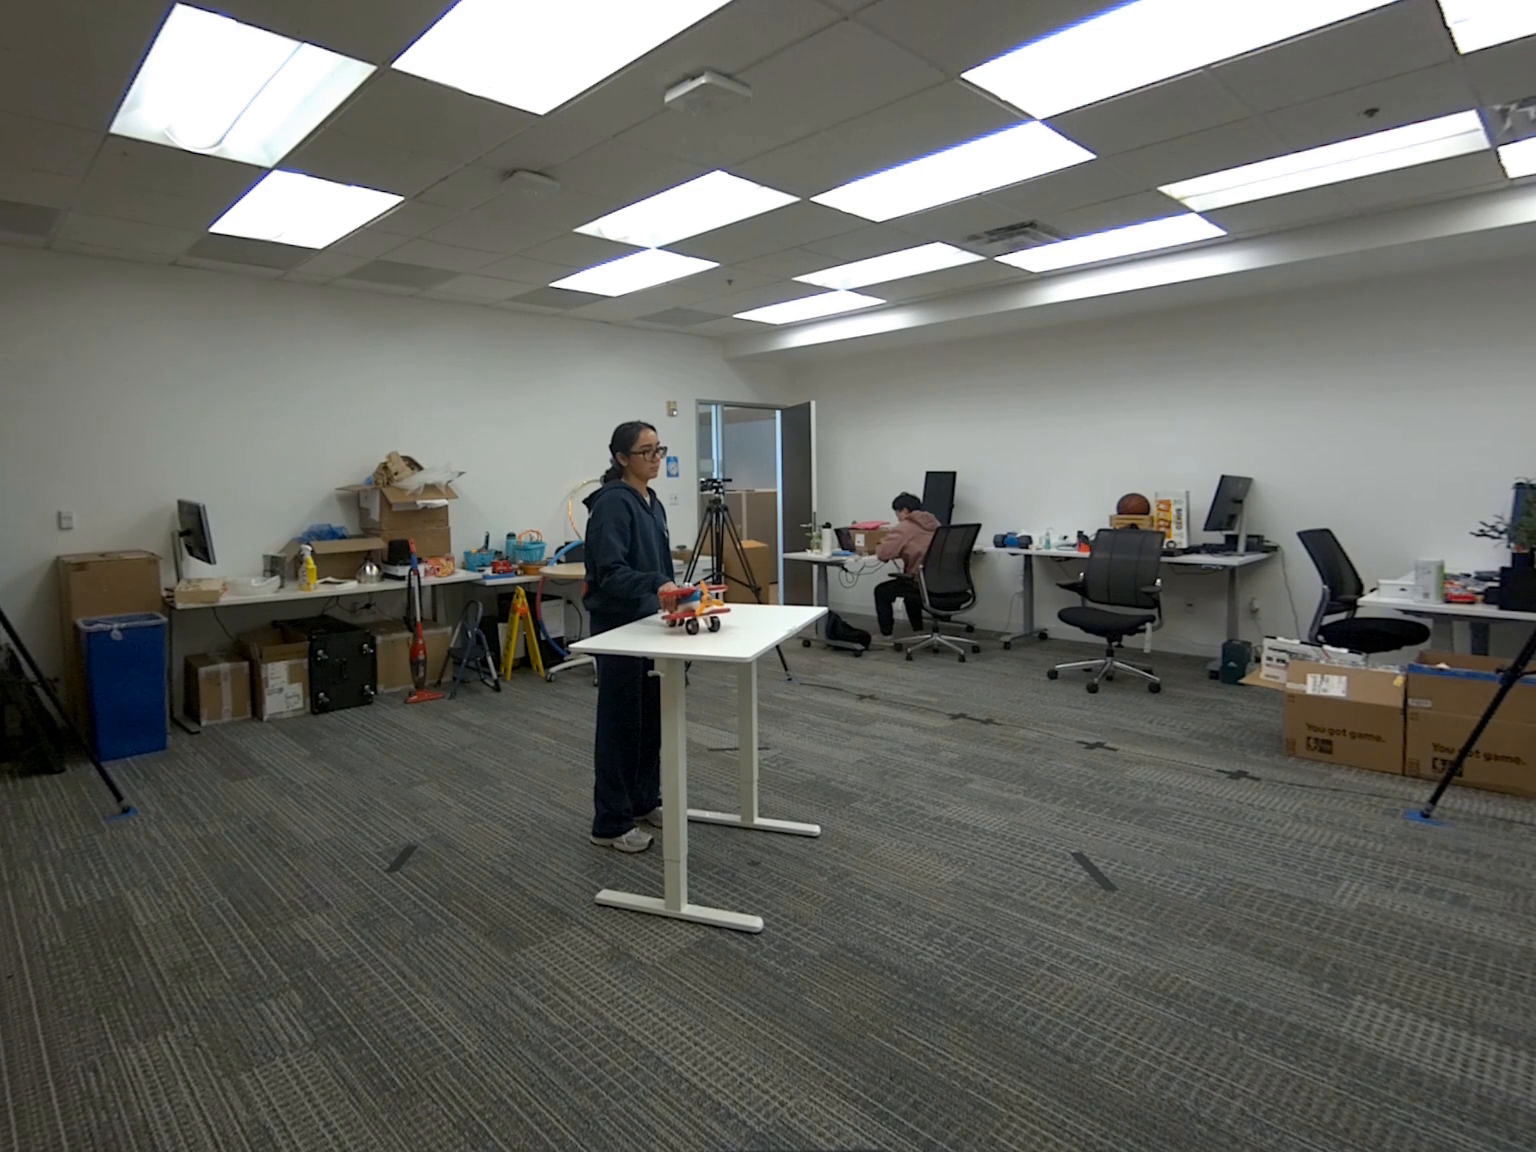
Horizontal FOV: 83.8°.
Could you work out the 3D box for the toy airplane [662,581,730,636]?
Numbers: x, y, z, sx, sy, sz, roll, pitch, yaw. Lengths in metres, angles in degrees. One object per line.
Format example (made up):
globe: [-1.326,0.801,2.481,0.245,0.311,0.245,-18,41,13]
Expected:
toy airplane: [-0.281,0.112,2.921,0.266,0.156,0.246,3,6,26]
